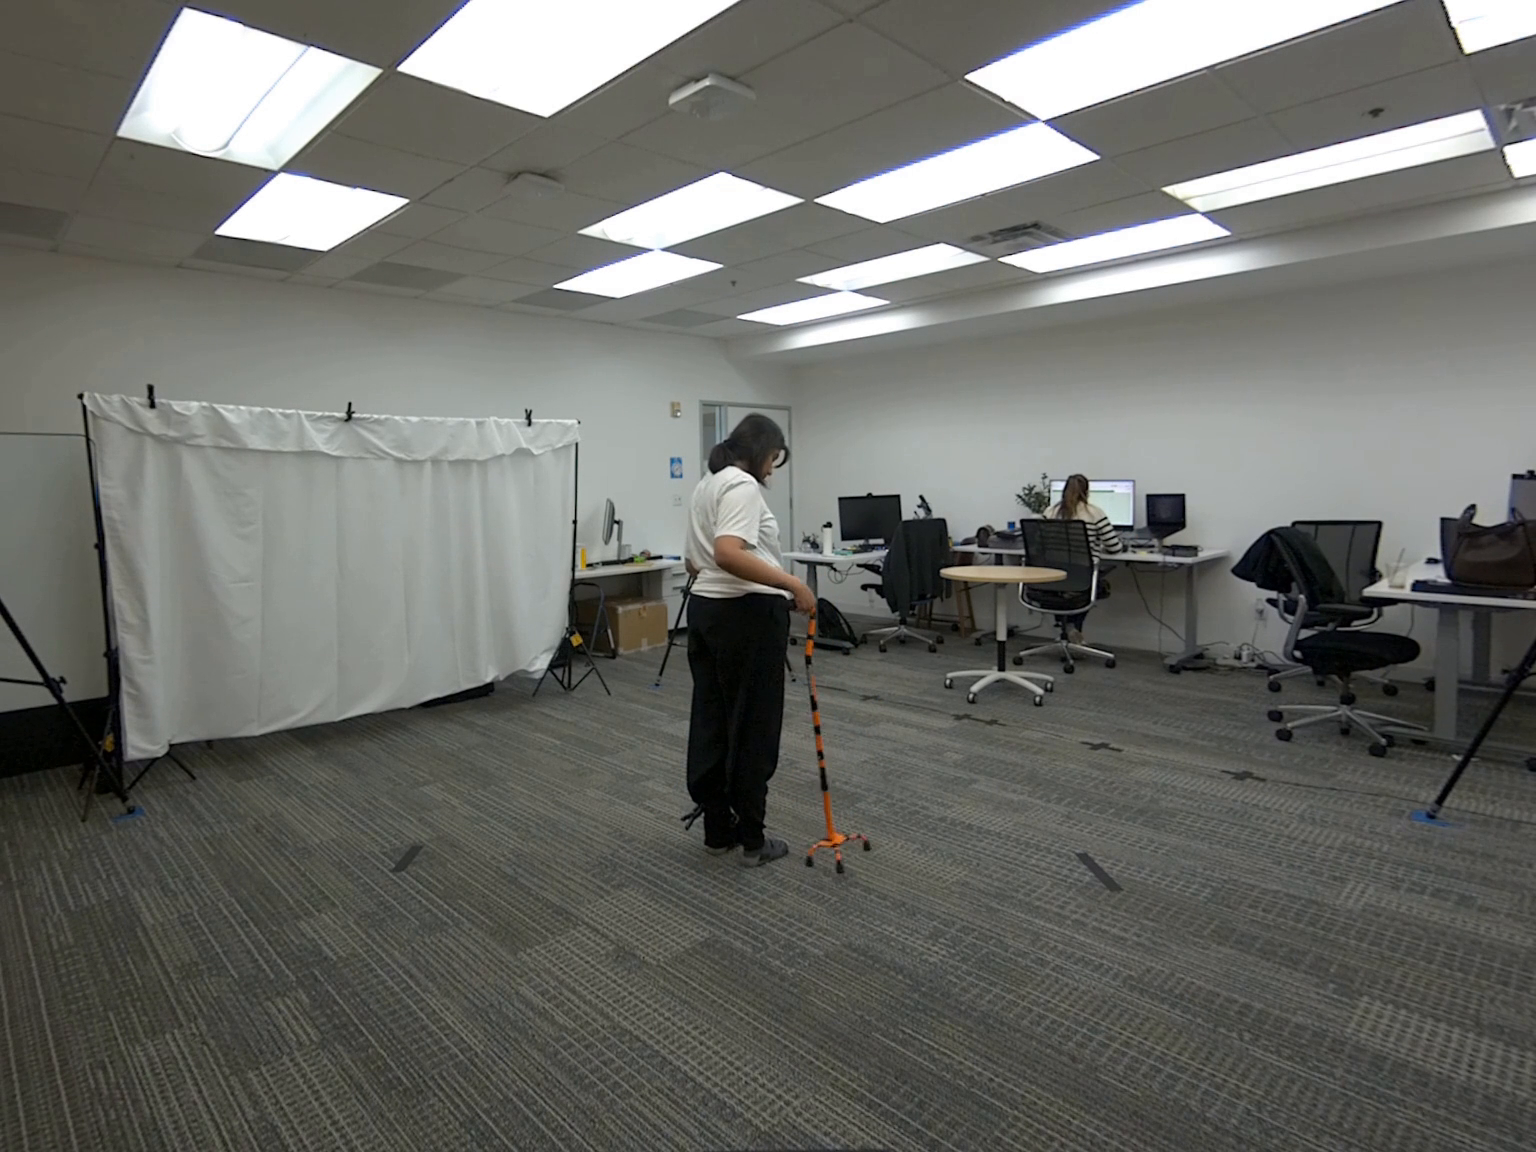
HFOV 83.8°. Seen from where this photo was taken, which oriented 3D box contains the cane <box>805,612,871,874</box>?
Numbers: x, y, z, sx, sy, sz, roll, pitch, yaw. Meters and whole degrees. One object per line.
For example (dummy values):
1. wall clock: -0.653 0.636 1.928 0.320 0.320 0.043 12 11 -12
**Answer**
1. cane: 0.182 0.516 2.895 0.156 0.904 0.202 -4 5 38
